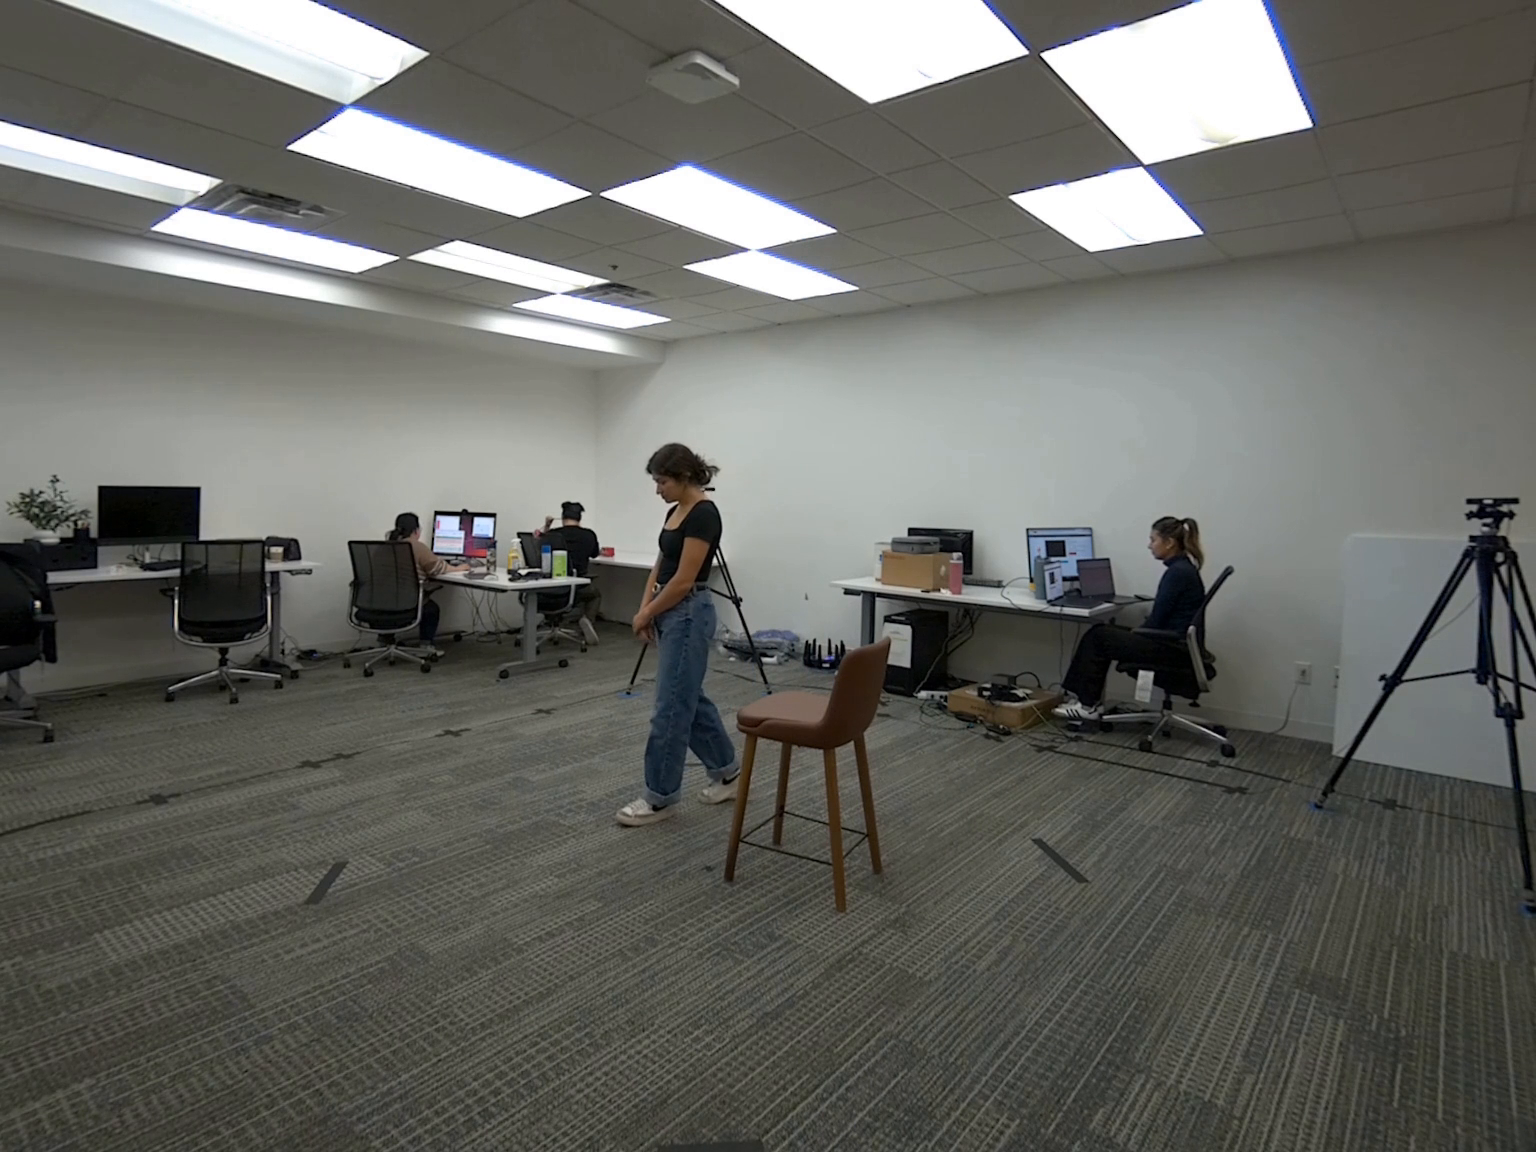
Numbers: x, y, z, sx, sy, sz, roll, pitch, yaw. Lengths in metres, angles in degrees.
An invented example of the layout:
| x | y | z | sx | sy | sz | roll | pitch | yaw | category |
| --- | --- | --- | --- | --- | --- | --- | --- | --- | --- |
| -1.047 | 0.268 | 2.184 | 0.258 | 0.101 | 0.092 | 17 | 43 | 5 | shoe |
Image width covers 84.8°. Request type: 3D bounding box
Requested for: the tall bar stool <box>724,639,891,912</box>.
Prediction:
| x | y | z | sx | sy | sz | roll | pitch | yaw | category |
| --- | --- | --- | --- | --- | --- | --- | --- | --- | --- |
| 0.145 | 0.645 | 3.049 | 0.482 | 0.887 | 0.444 | 5 | 4 | 30 | tall bar stool |
